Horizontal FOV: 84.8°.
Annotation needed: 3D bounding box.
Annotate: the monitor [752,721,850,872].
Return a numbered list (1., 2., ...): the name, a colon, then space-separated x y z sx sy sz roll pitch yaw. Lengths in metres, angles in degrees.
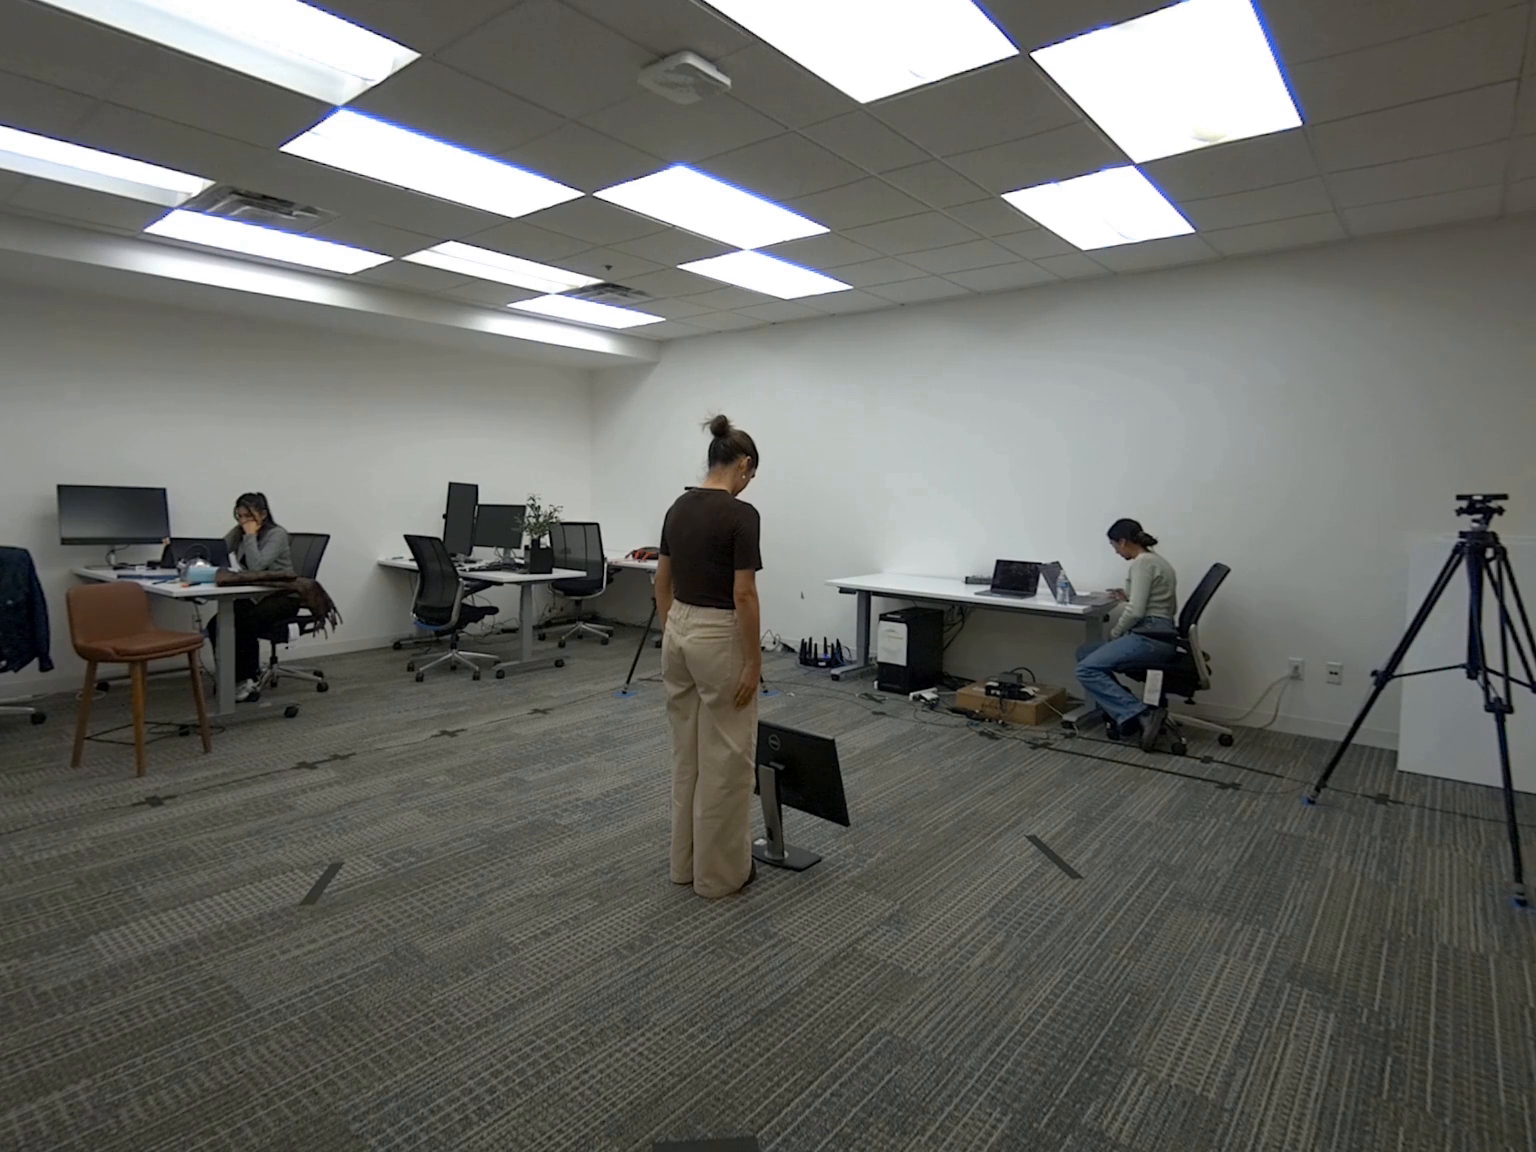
1. monitor: 0.037 0.810 3.195 0.557 0.520 0.181 4 6 42
